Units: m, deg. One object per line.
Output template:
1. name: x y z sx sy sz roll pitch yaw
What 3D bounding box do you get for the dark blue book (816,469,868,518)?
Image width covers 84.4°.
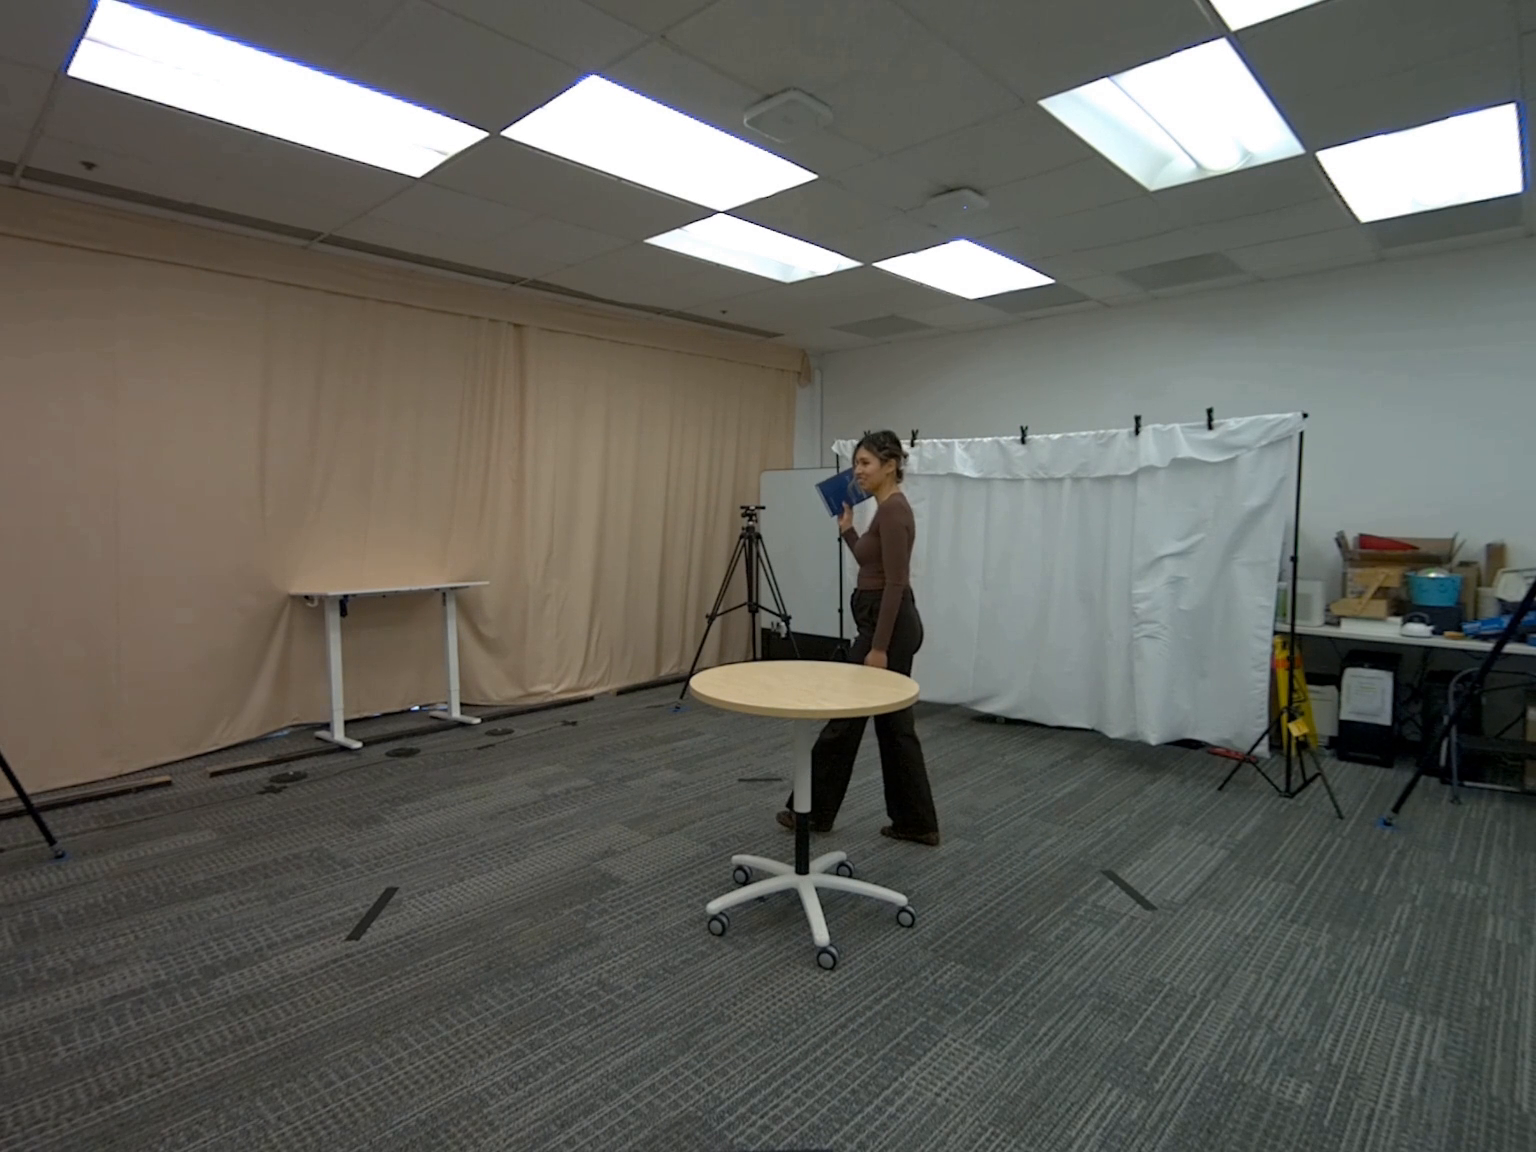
1. dark blue book: 0.367 -0.392 3.792 0.244 0.164 0.045 -26 -2 -3
